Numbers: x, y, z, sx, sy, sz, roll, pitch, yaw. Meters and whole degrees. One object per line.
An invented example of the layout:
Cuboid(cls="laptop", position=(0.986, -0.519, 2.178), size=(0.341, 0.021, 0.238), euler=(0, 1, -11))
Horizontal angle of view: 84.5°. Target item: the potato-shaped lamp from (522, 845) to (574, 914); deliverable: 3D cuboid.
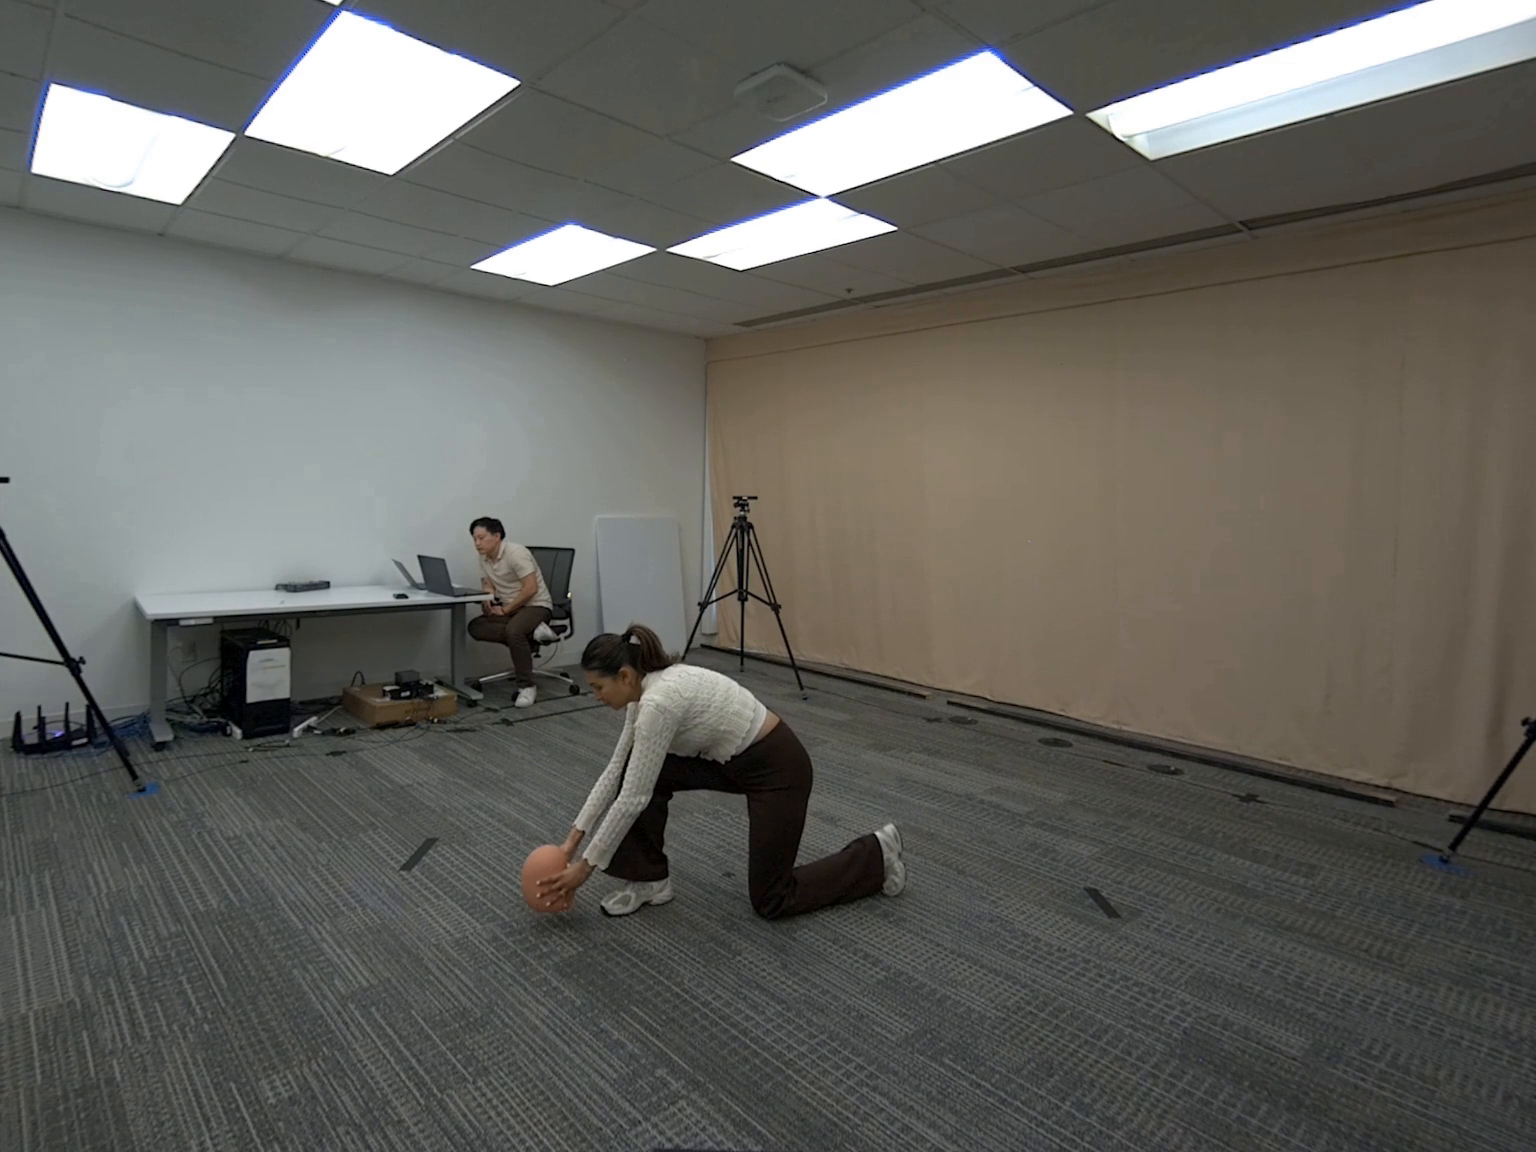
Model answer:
Cuboid(cls="potato-shaped lamp", position=(-0.706, 0.963, 2.710), size=(0.171, 0.197, 0.166), euler=(4, 6, -4))
